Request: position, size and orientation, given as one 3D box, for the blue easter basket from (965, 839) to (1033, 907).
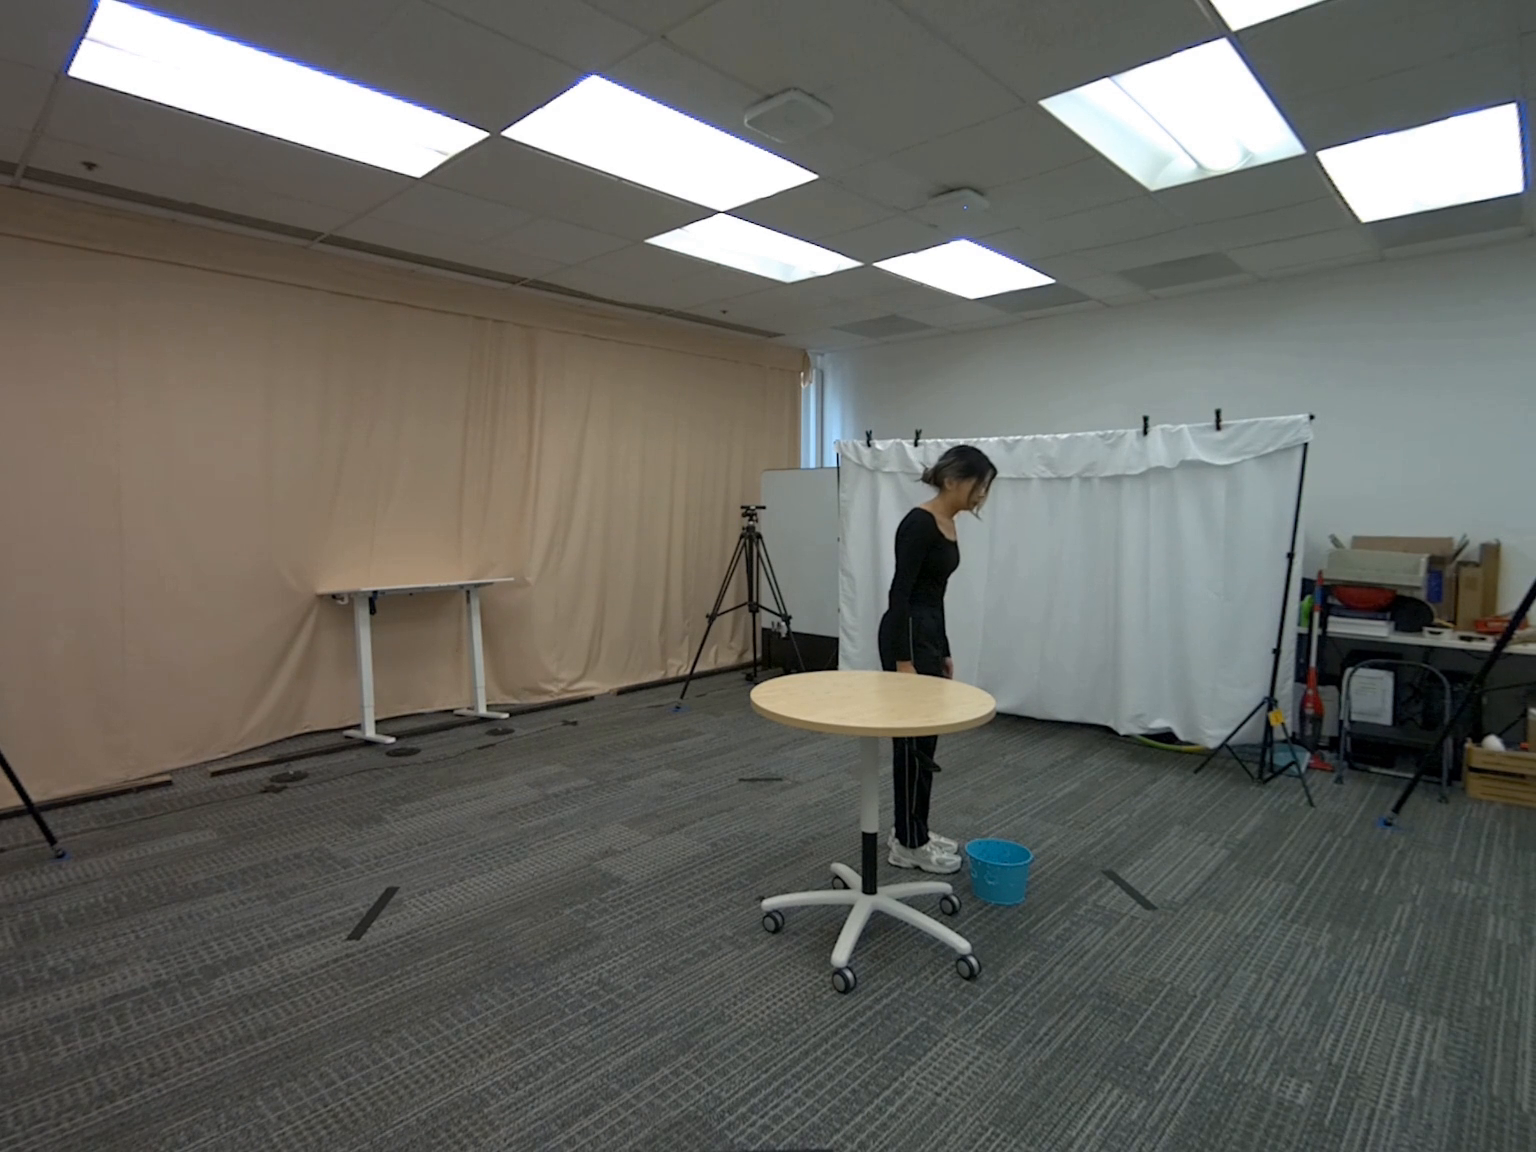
[{"bbox_3d":[0.832,1.060,3.020,0.243,0.155,0.244,0,4,-2],"label":"blue easter basket"}]
